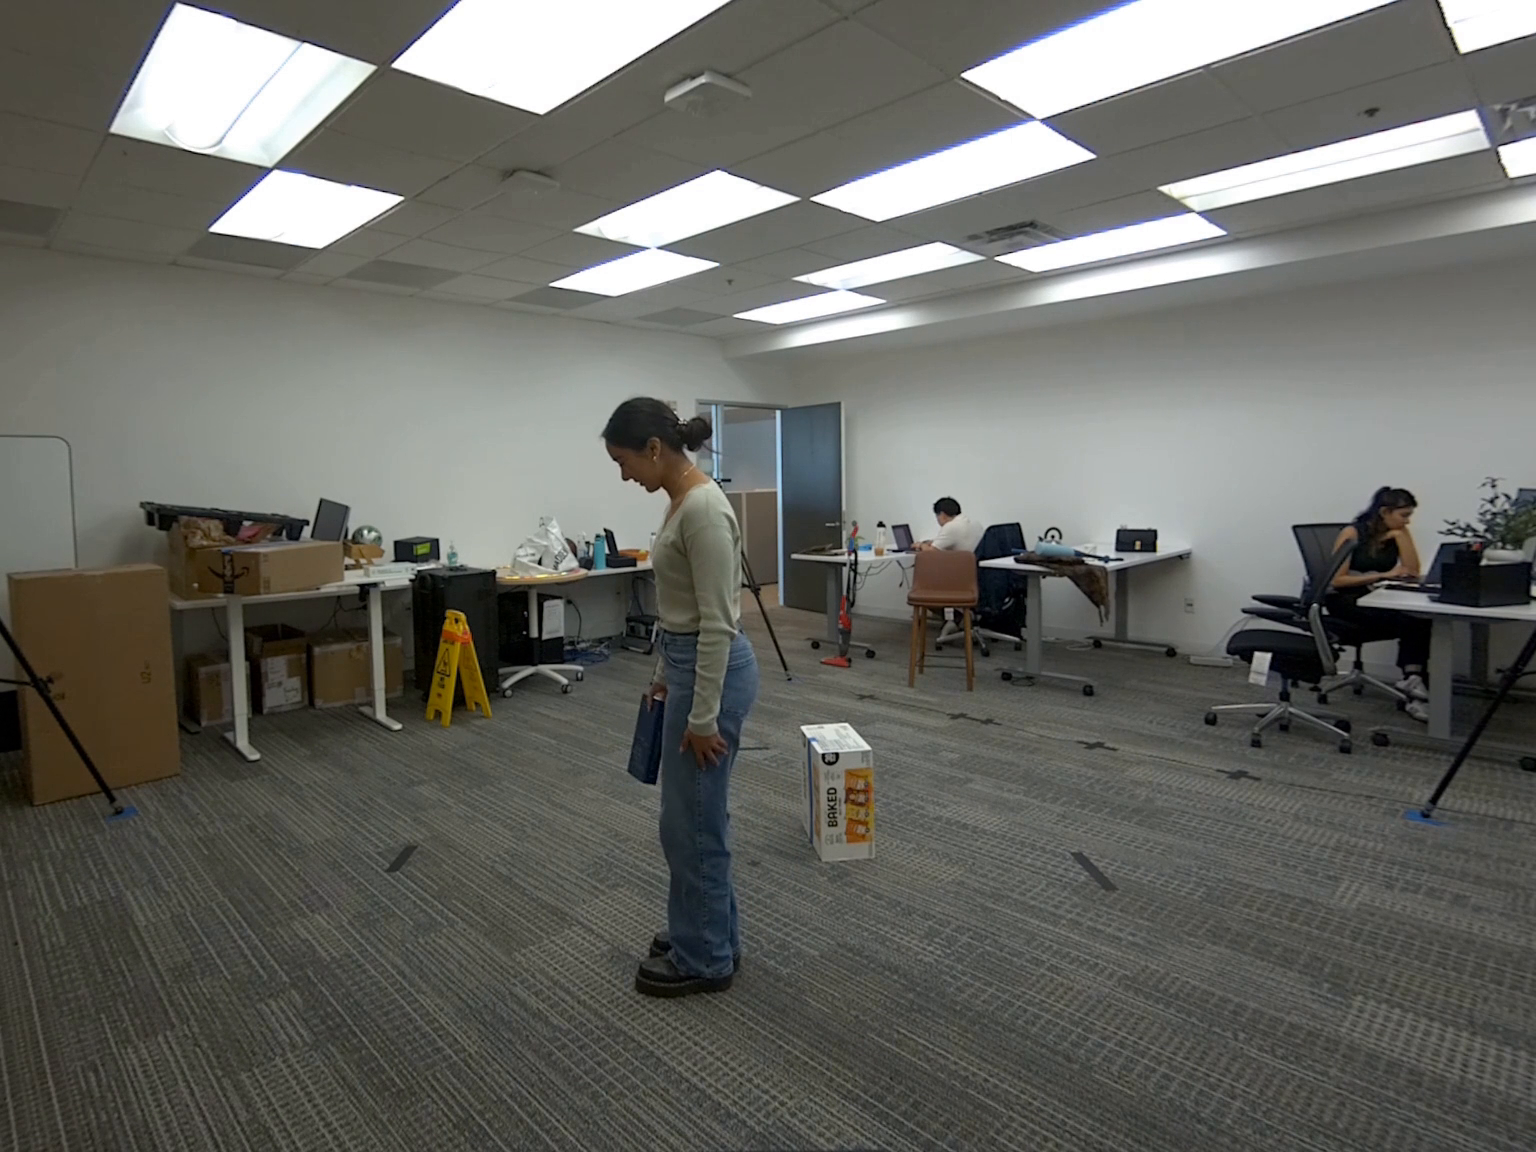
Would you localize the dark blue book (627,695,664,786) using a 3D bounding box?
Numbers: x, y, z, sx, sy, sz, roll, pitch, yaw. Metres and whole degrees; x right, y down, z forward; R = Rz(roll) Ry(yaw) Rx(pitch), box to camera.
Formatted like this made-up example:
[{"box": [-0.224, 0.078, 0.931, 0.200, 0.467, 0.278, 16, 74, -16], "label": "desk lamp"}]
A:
[{"box": [-0.360, 0.492, 2.580, 0.044, 0.246, 0.166, 12, -7, -24], "label": "dark blue book"}]
